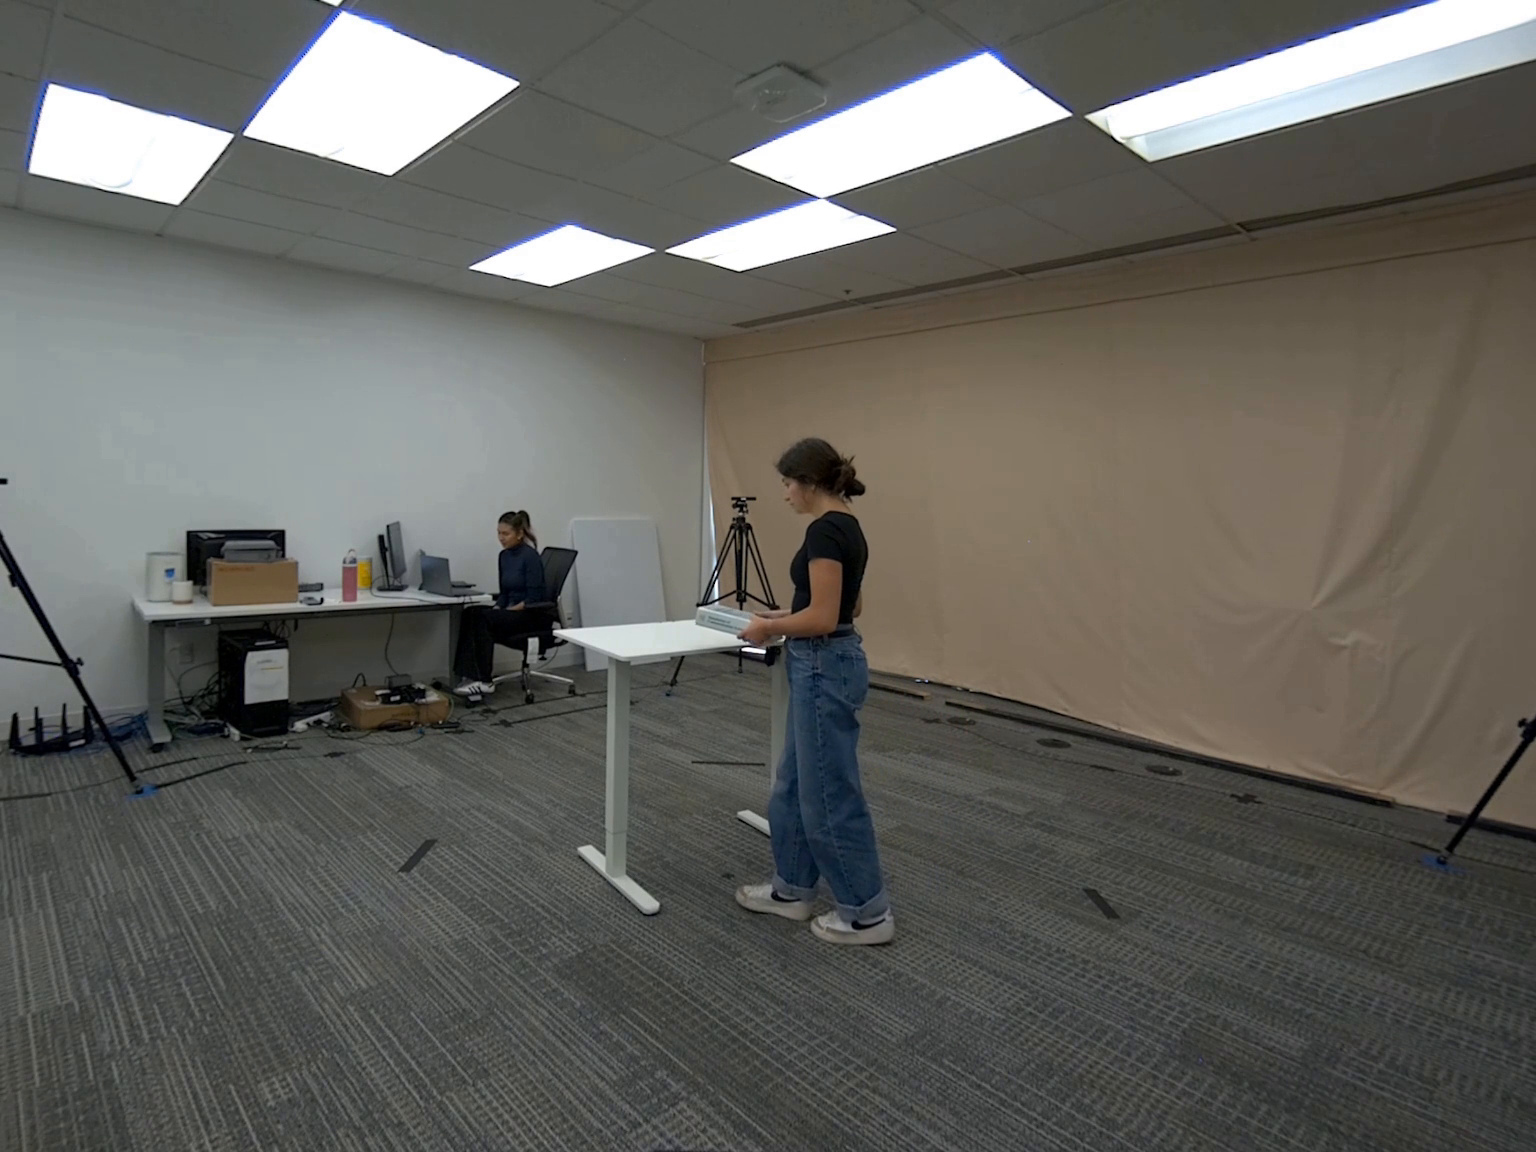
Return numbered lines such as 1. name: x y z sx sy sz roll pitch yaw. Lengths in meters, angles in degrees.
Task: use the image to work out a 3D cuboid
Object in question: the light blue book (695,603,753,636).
1. light blue book: -0.081 0.159 2.793 0.265 0.059 0.189 11 6 16
